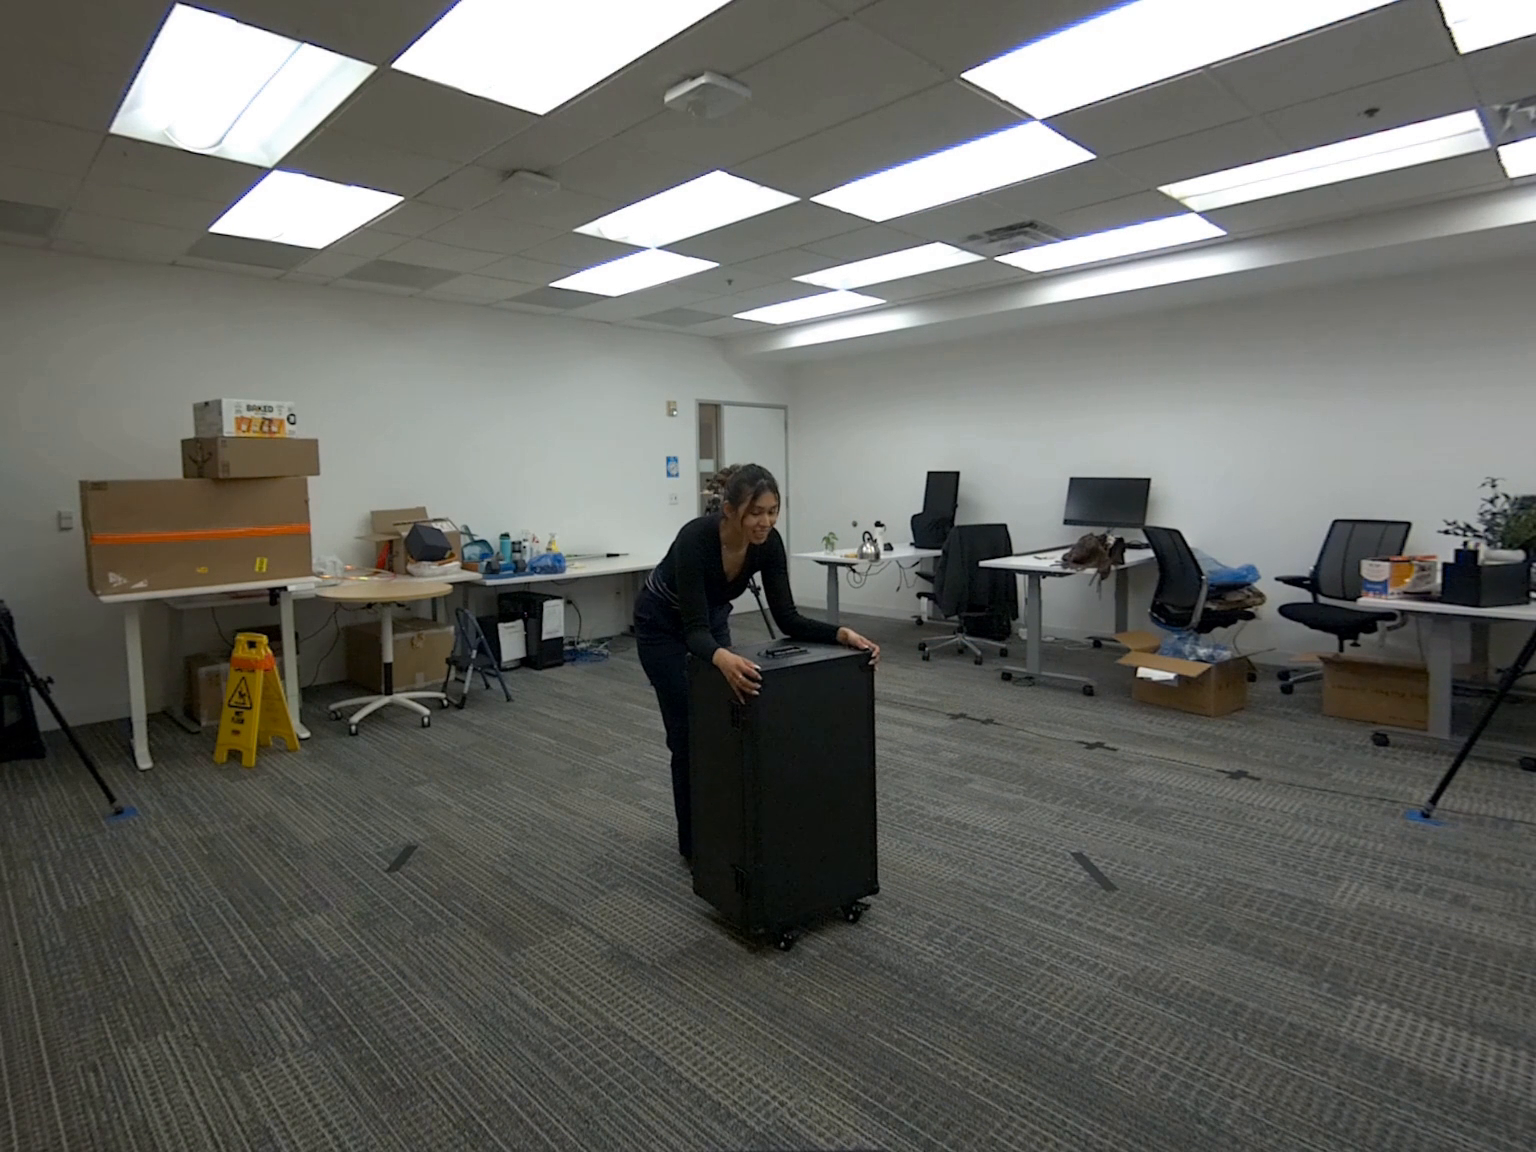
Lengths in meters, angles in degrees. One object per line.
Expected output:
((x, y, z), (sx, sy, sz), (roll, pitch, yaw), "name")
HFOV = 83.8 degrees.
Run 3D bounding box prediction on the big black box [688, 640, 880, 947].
((0.039, 0.663, 2.718), (0.508, 0.859, 0.407), (-4, 4, -34), "big black box")
